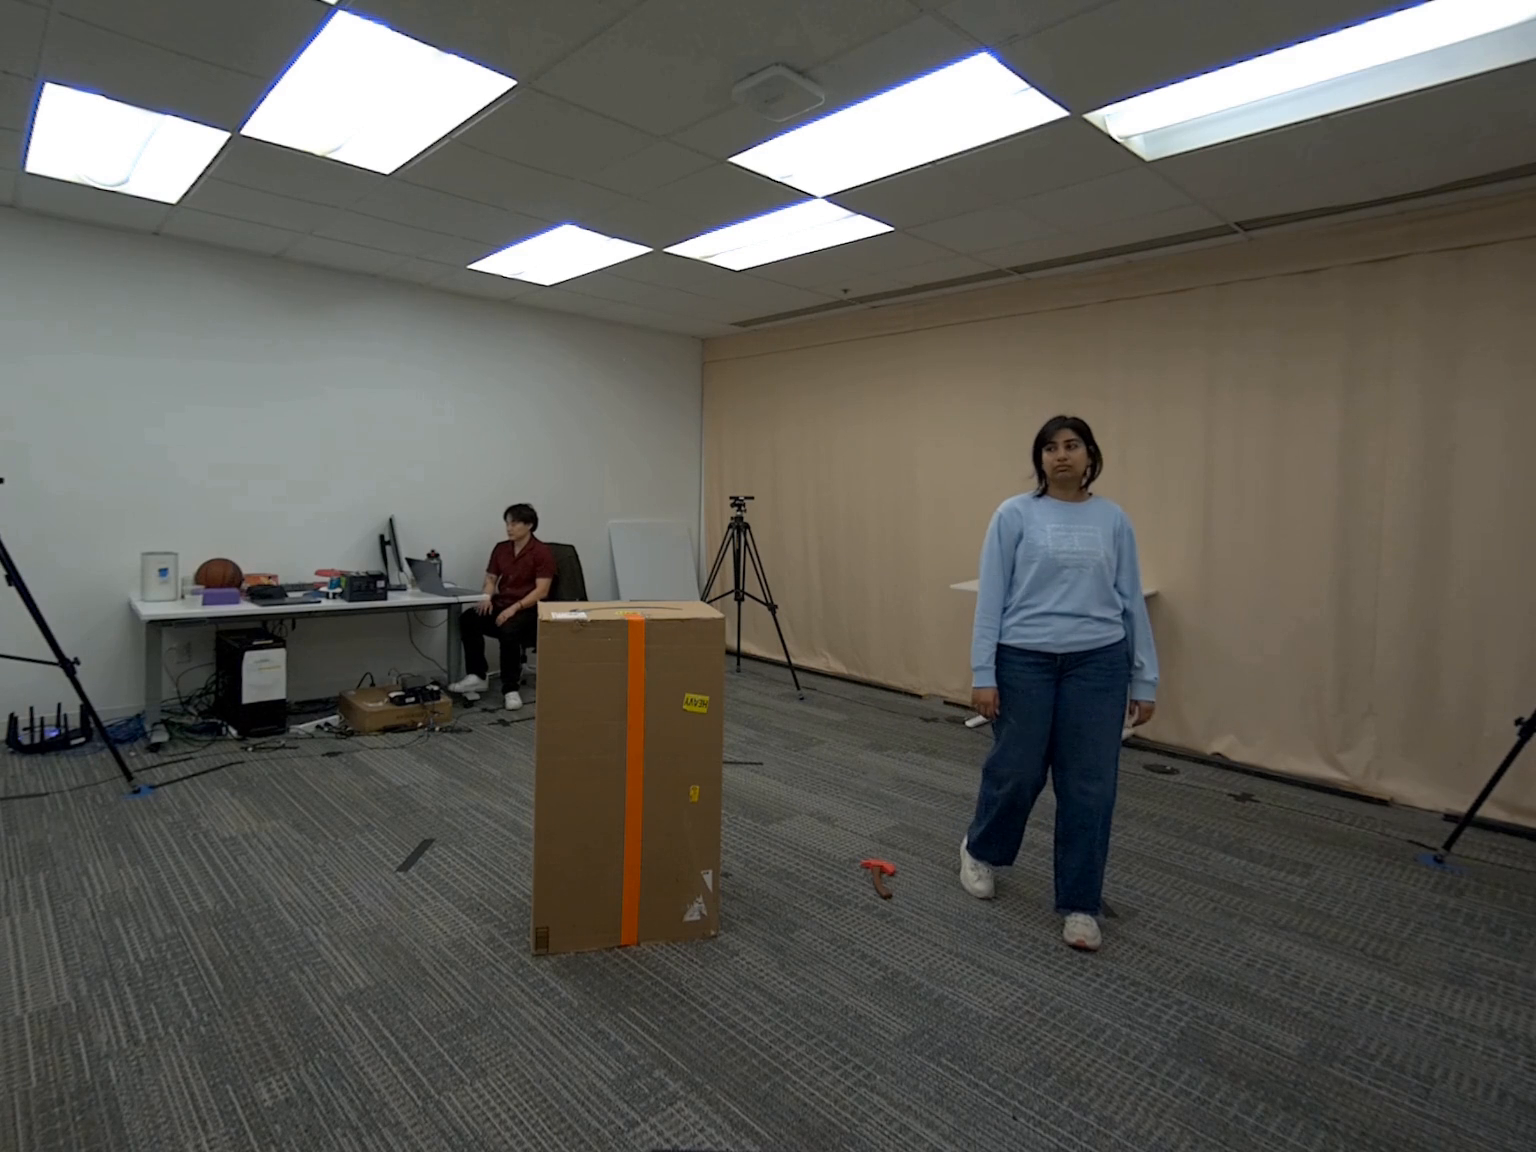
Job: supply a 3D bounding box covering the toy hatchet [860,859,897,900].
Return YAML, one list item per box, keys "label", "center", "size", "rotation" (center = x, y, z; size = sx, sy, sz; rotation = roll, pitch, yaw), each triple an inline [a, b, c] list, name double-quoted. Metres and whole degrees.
- label: "toy hatchet"
  center: [0.431, 1.106, 3.083]
  size: [0.130, 0.029, 0.273]
  rotation: [3, 6, -11]
